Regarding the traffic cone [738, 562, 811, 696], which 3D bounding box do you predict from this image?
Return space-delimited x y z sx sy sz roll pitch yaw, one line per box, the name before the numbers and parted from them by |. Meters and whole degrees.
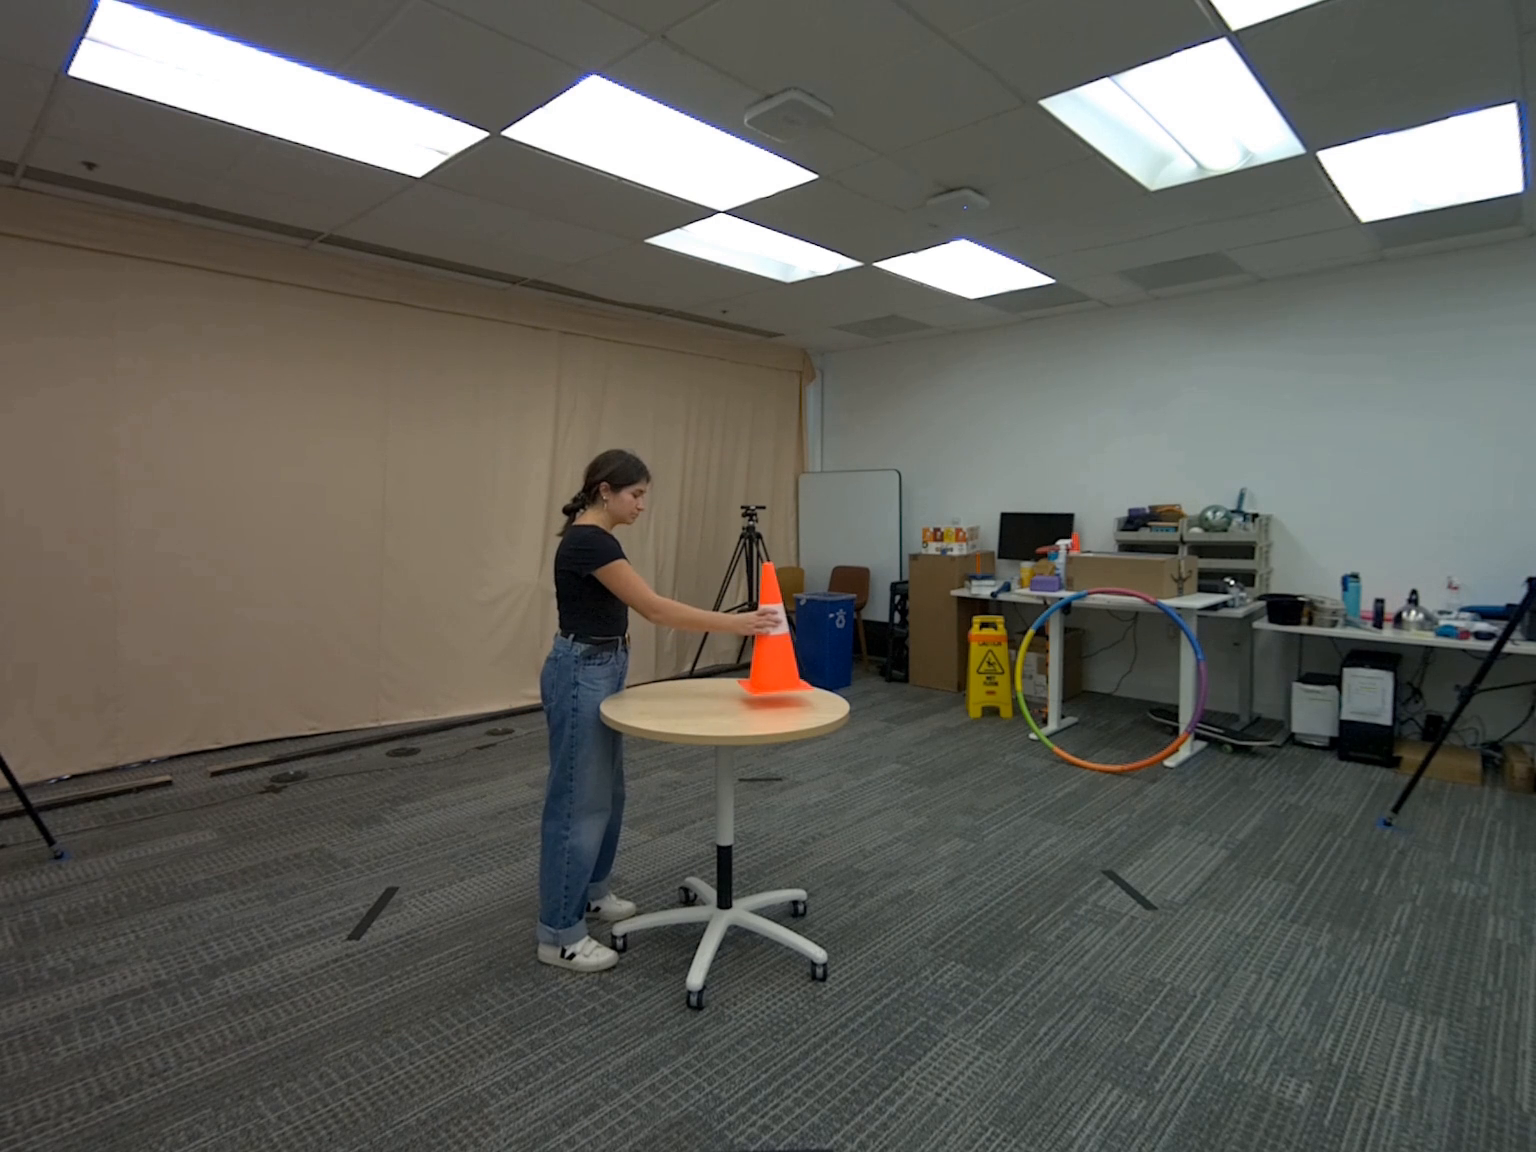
traffic cone | 0.013 0.154 2.589 0.202 0.383 0.207 -3 3 -15
